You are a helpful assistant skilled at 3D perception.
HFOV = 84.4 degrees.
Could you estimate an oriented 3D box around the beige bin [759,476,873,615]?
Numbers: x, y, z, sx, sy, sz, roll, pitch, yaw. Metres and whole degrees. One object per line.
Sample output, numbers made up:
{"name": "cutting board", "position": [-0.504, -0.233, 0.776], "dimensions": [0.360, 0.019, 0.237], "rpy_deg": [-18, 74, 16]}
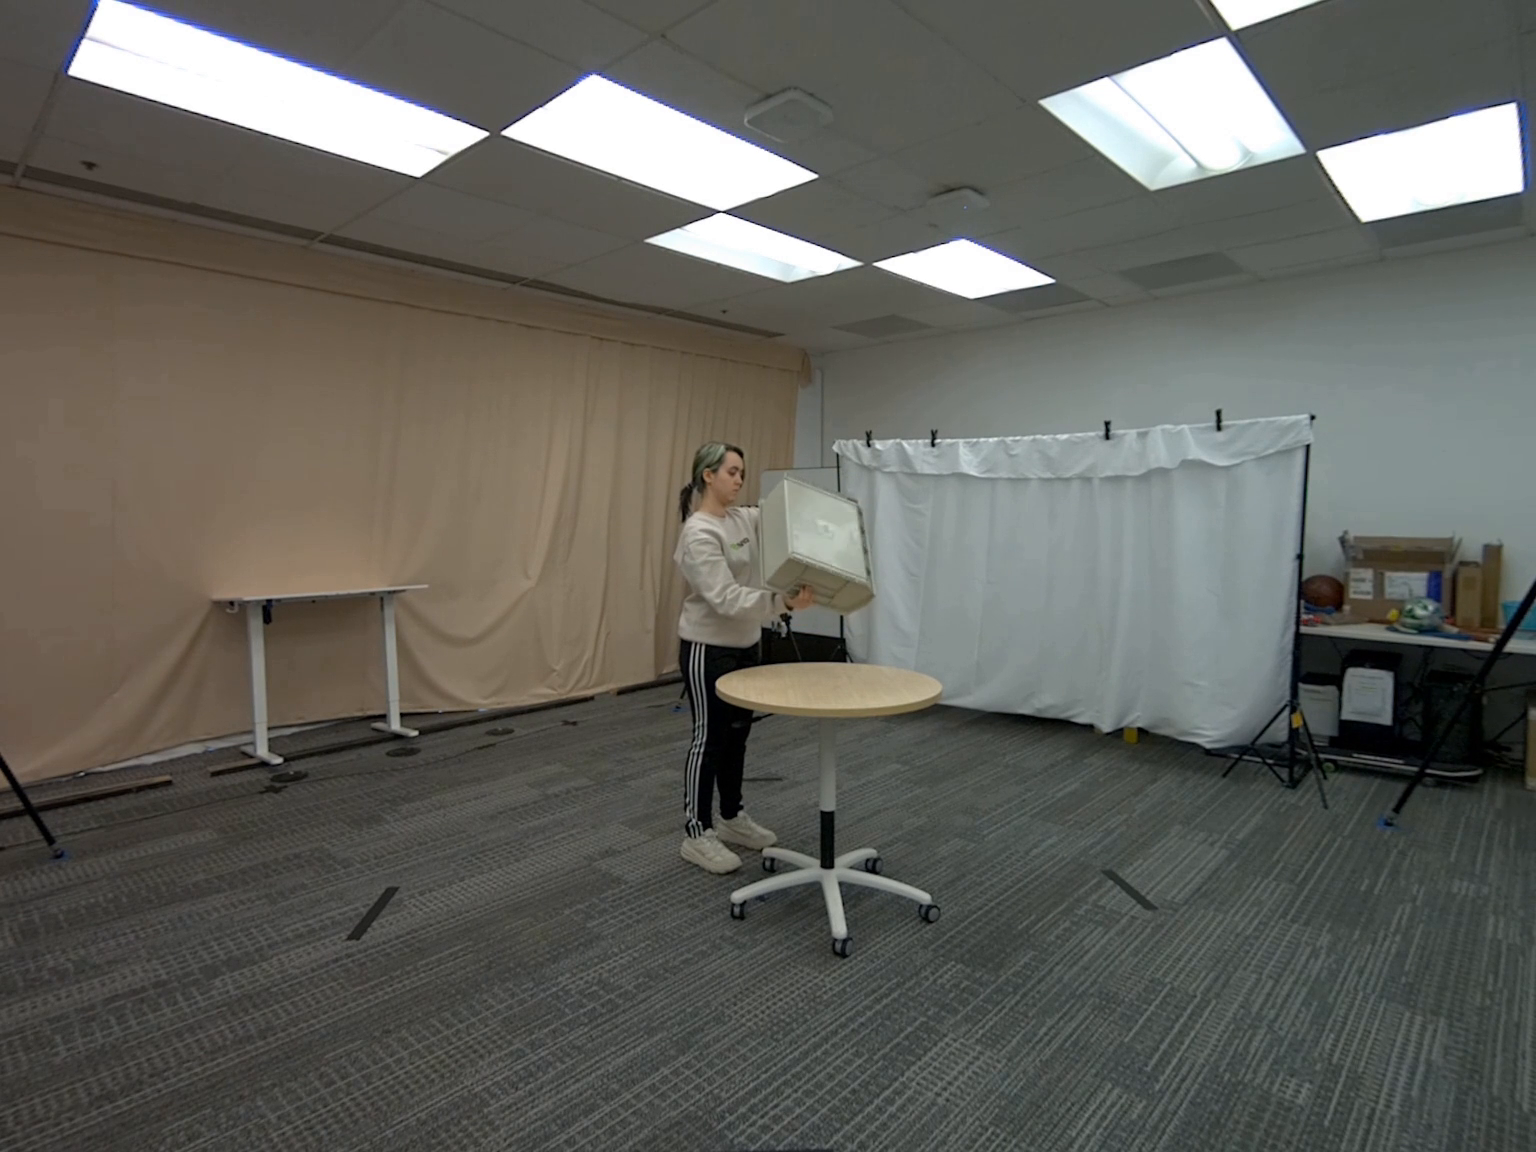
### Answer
{"name": "beige bin", "position": [0.186, -0.112, 3.007], "dimensions": [0.368, 0.430, 0.190], "rpy_deg": [19, -44, -21]}
